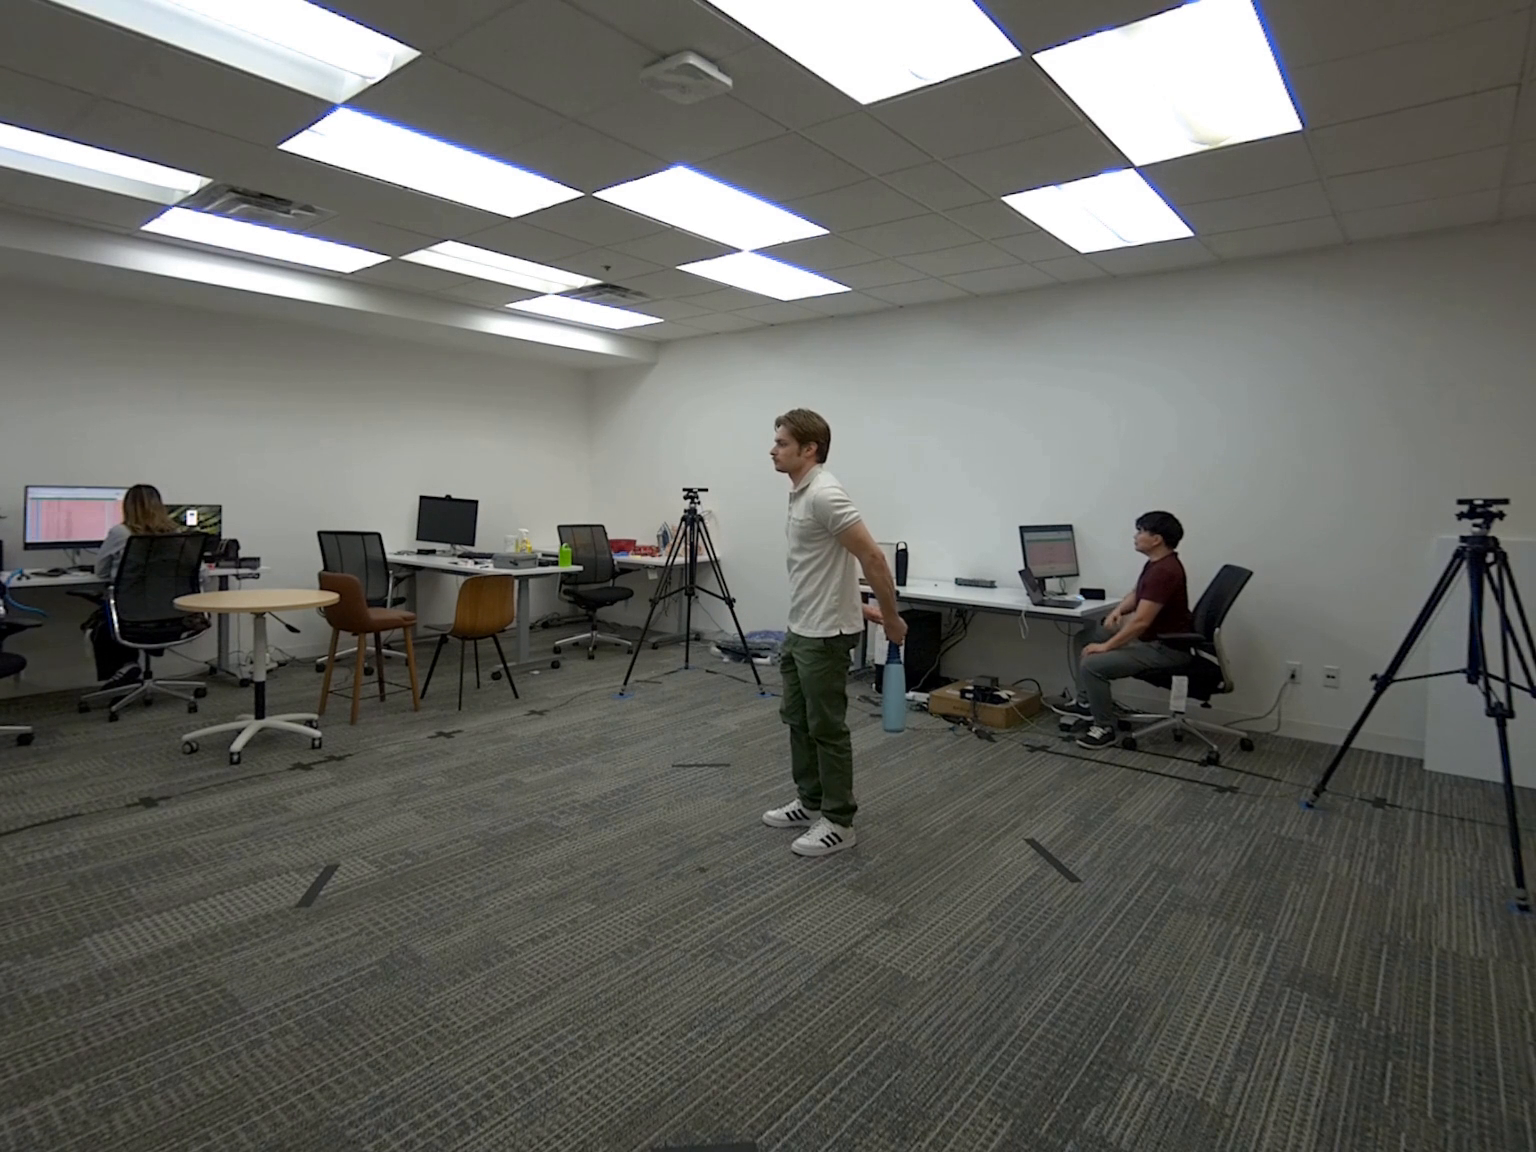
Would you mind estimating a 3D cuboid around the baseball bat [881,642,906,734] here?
[{"bbox_3d":[0.478,0.323,3.235,0.089,0.550,0.088,2,-14,-1],"label":"baseball bat"}]
